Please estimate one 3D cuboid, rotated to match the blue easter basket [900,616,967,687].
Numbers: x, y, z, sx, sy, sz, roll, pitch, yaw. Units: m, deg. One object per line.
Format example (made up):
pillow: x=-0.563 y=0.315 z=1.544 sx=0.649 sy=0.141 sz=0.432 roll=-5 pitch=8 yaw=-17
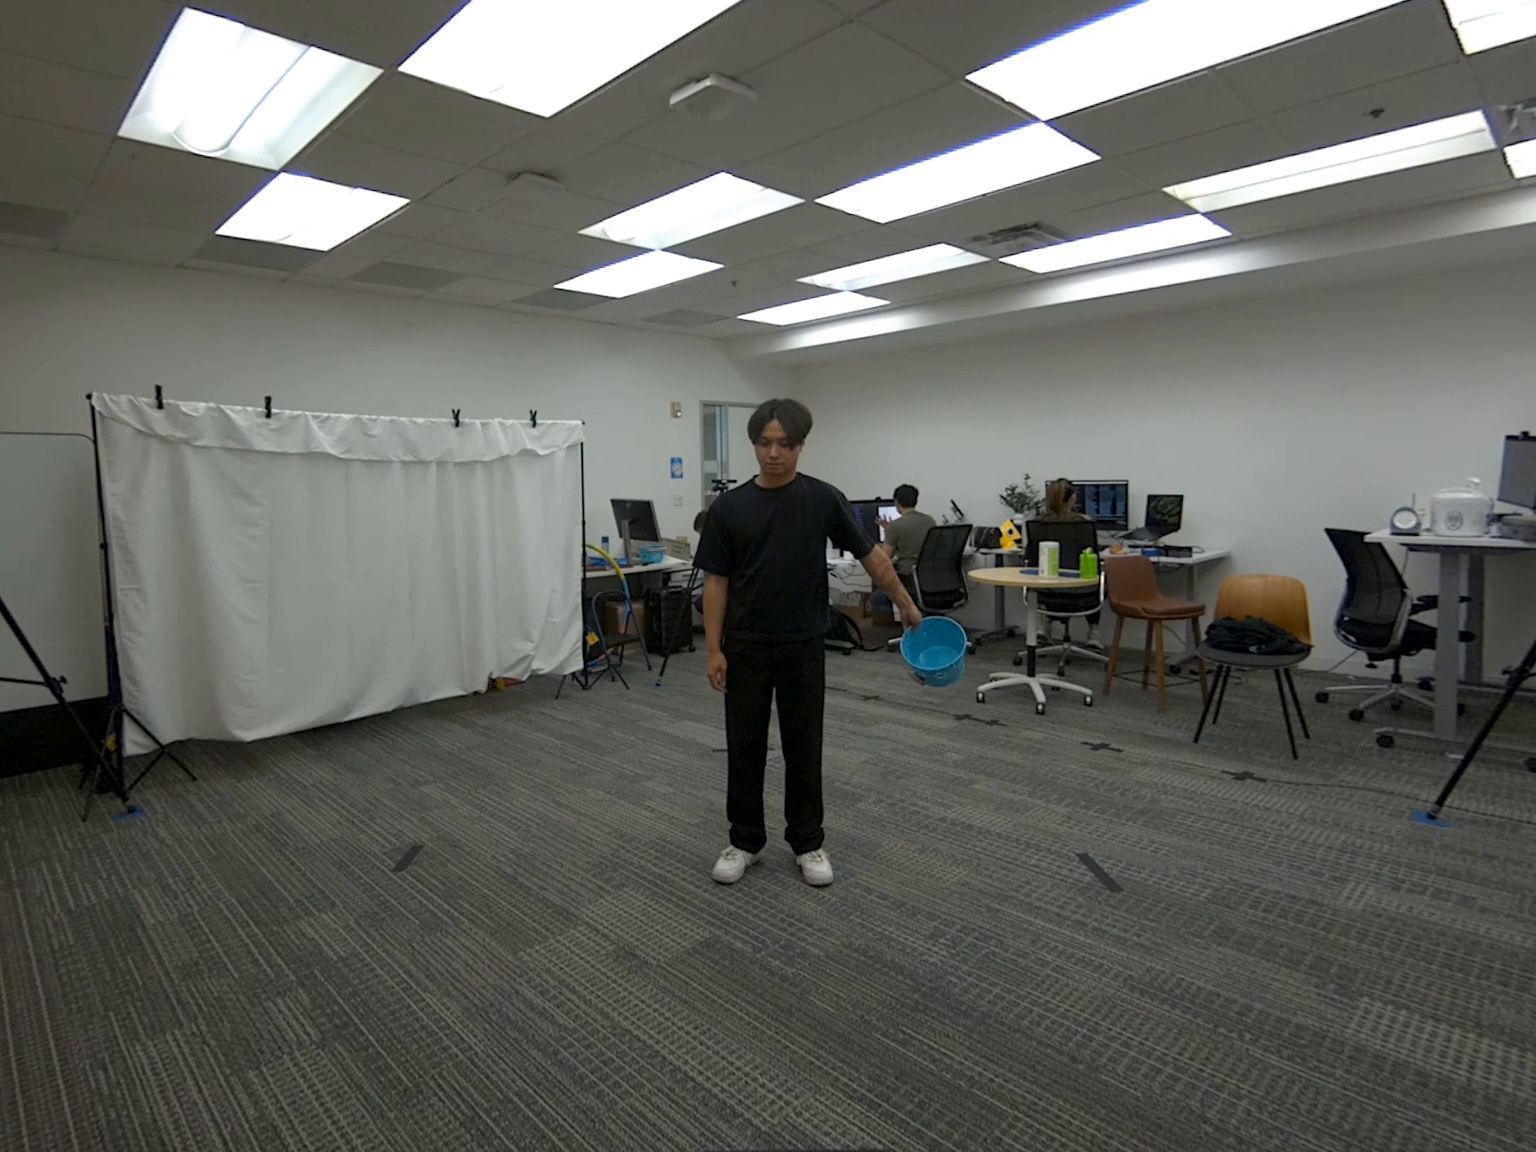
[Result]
blue easter basket: x=0.601 y=0.290 z=3.101 sx=0.246 sy=0.150 sz=0.250 roll=-13 pitch=45 yaw=12
